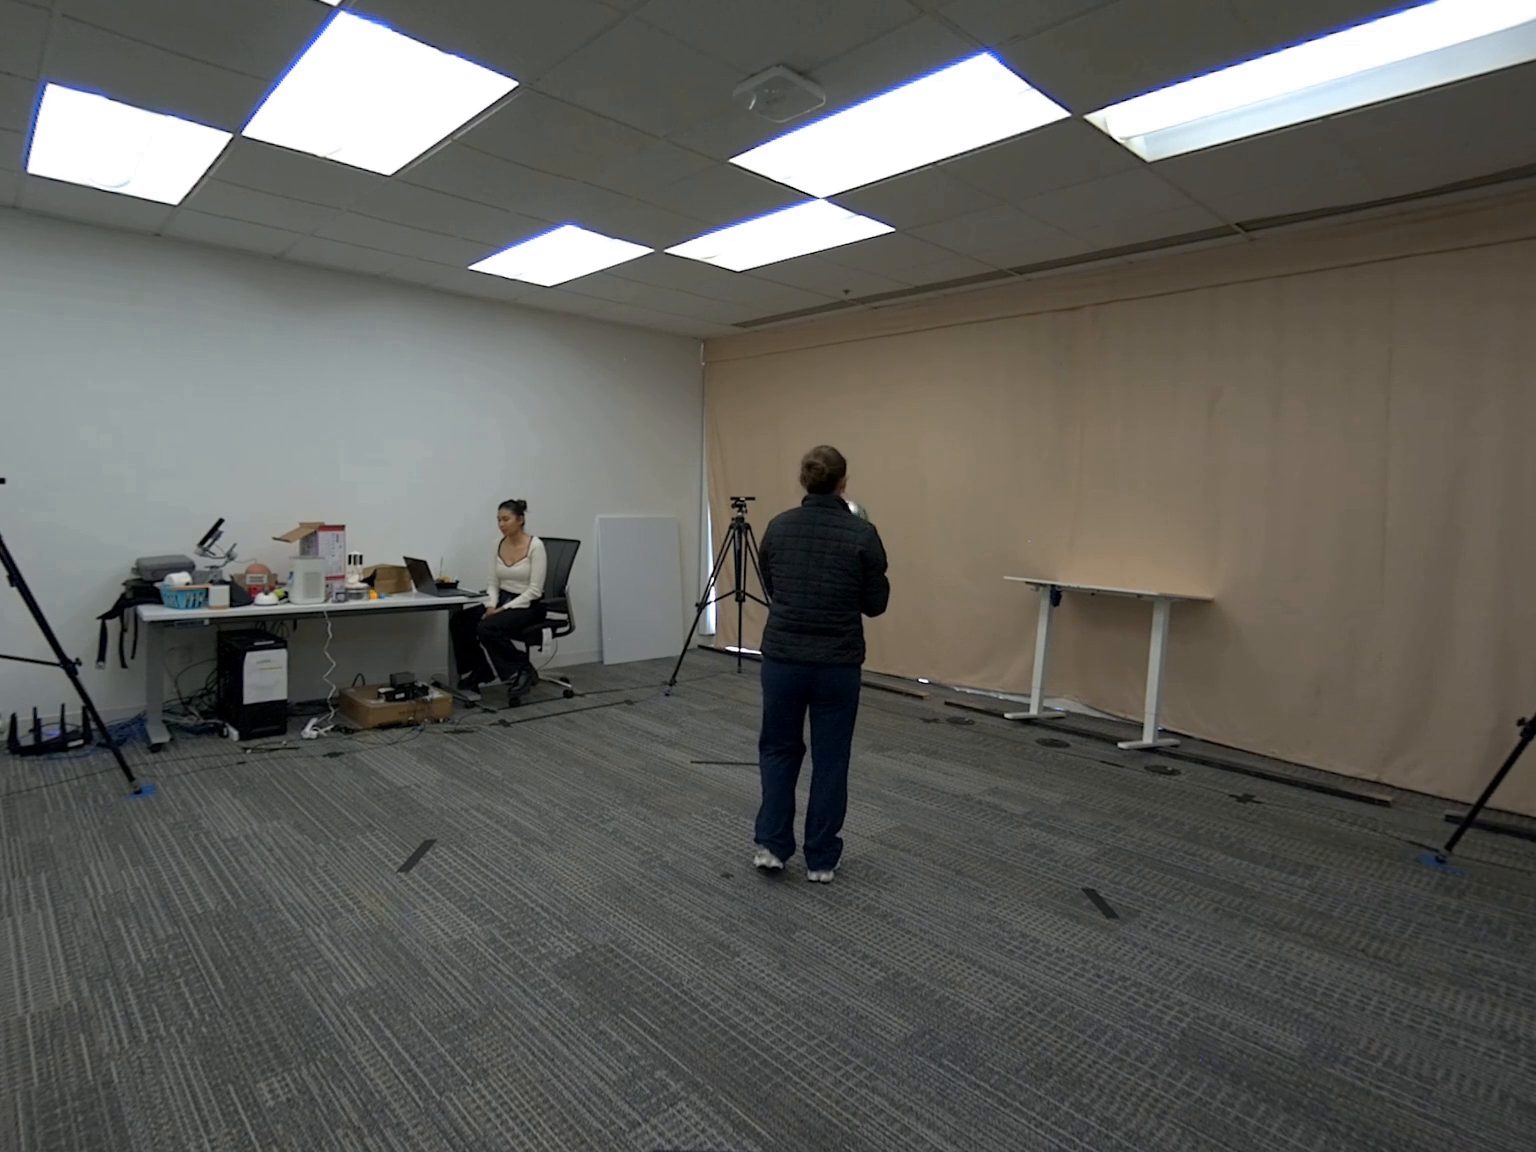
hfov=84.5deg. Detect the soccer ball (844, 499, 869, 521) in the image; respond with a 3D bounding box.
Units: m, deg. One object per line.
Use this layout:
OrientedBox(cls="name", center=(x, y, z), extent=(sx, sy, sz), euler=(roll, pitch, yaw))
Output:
OrientedBox(cls="soccer ball", center=(0.308, -0.199, 3.309), extent=(0.187, 0.187, 0.188), euler=(1, 4, -1))
